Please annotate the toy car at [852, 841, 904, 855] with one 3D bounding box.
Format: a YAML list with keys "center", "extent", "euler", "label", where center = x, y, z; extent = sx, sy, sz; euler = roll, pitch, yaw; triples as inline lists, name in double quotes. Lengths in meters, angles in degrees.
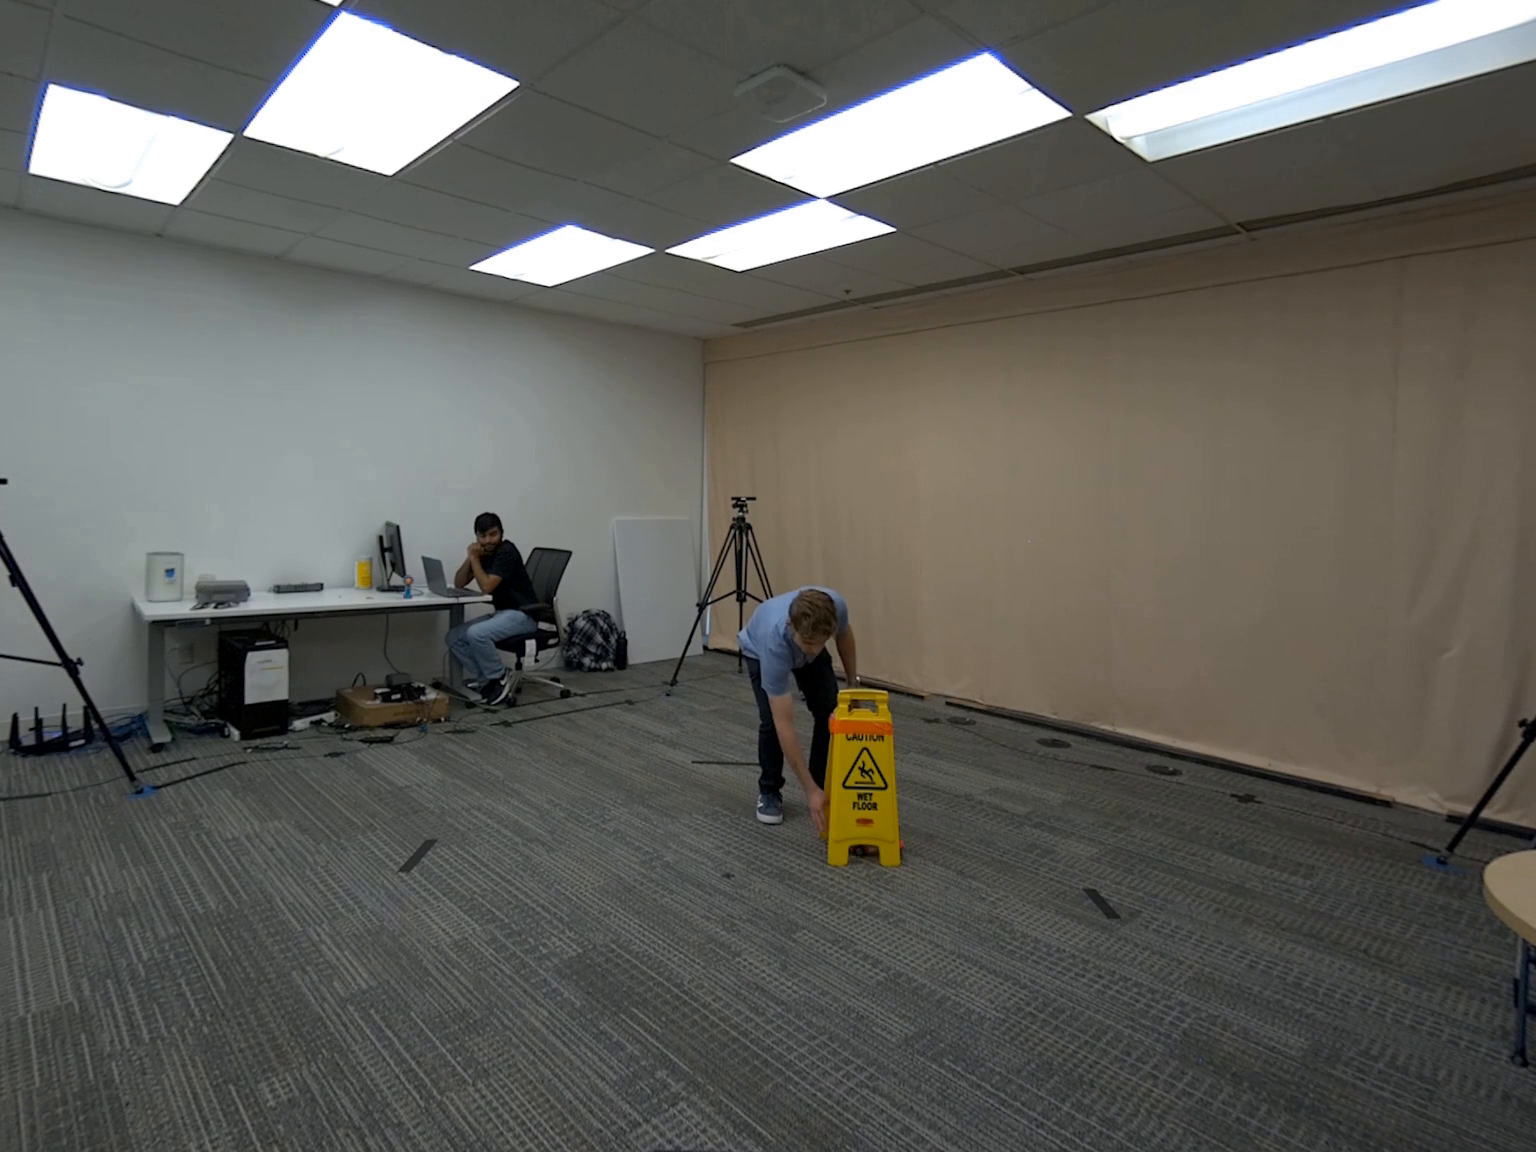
- center: [0.394, 1.078, 3.352]
  extent: [0.255, 0.083, 0.130]
  euler: [10, 4, 1]
  label: "toy car"
